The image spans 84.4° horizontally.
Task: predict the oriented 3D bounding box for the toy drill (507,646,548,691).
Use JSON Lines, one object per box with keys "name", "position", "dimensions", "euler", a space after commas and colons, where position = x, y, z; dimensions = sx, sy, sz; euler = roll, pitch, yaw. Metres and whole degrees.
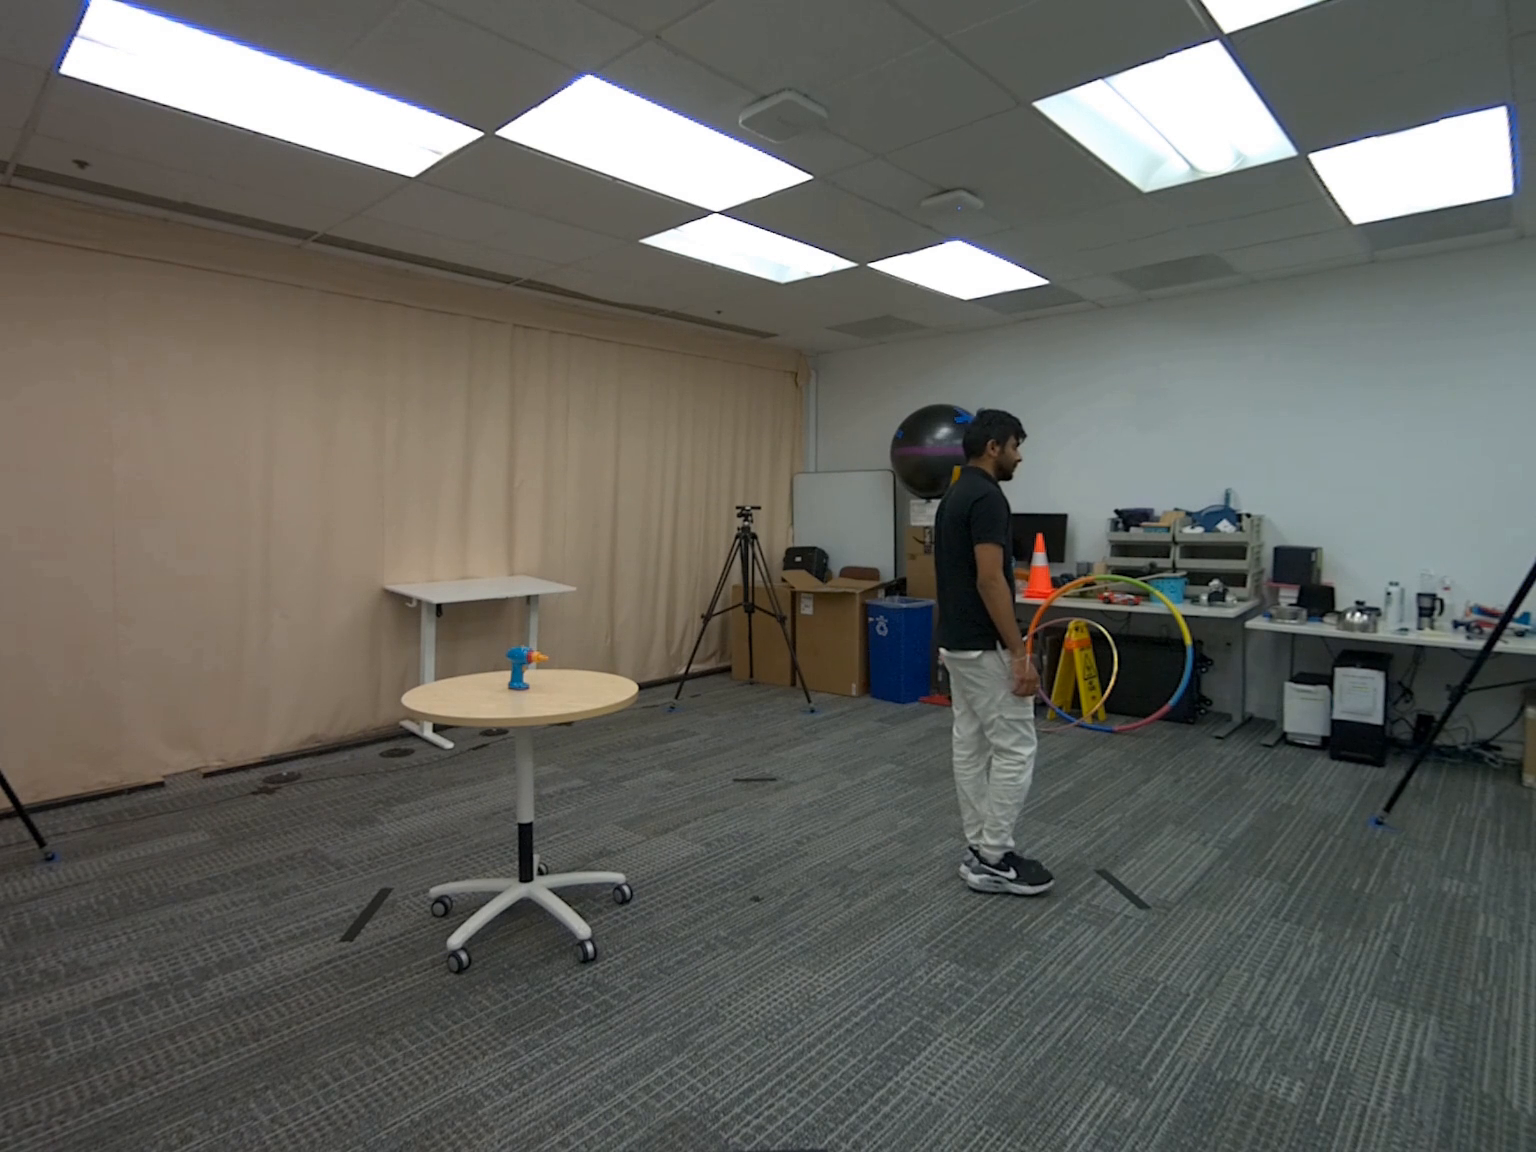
{"name": "toy drill", "position": [-0.804, 0.311, 2.814], "dimensions": [0.173, 0.146, 0.060], "euler": [1, 3, 17]}
